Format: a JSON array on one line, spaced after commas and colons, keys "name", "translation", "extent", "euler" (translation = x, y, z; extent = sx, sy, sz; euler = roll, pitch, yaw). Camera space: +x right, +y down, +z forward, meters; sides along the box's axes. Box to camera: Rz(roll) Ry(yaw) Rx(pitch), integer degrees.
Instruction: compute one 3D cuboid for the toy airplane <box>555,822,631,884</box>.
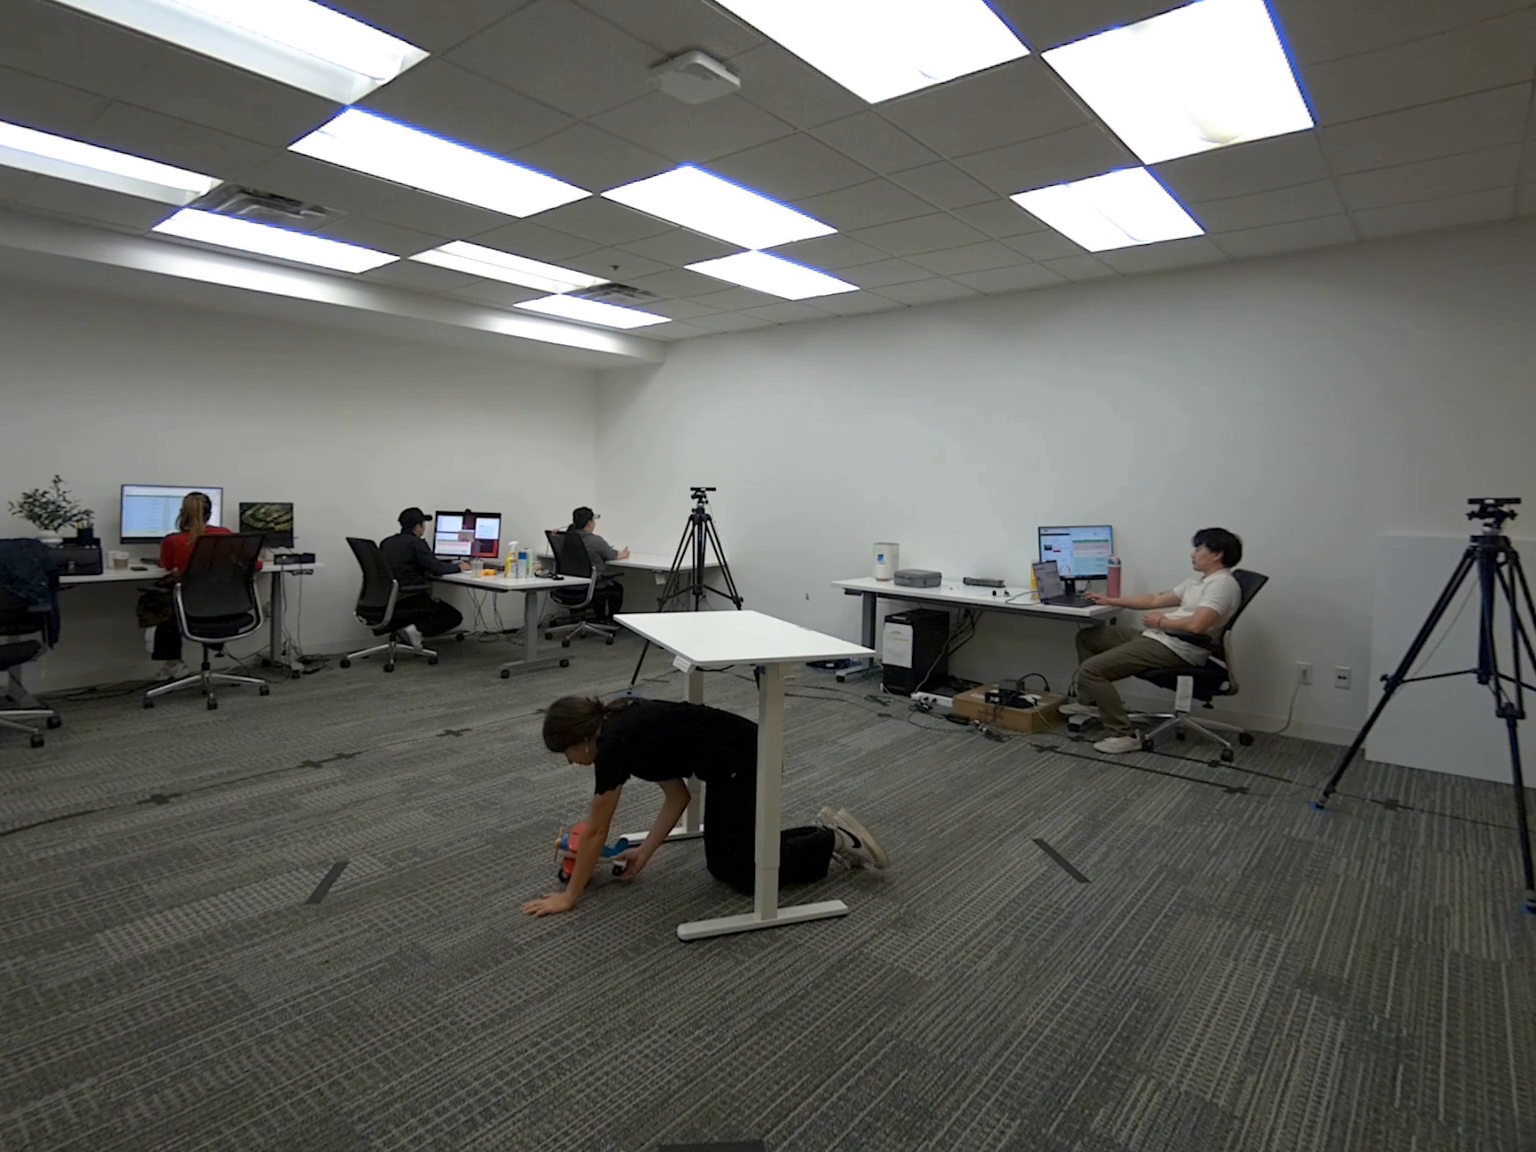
[{"name": "toy airplane", "translation": [-0.646, 0.987, 3.049], "extent": [0.252, 0.156, 0.259], "euler": [-6, 6, -32]}]
